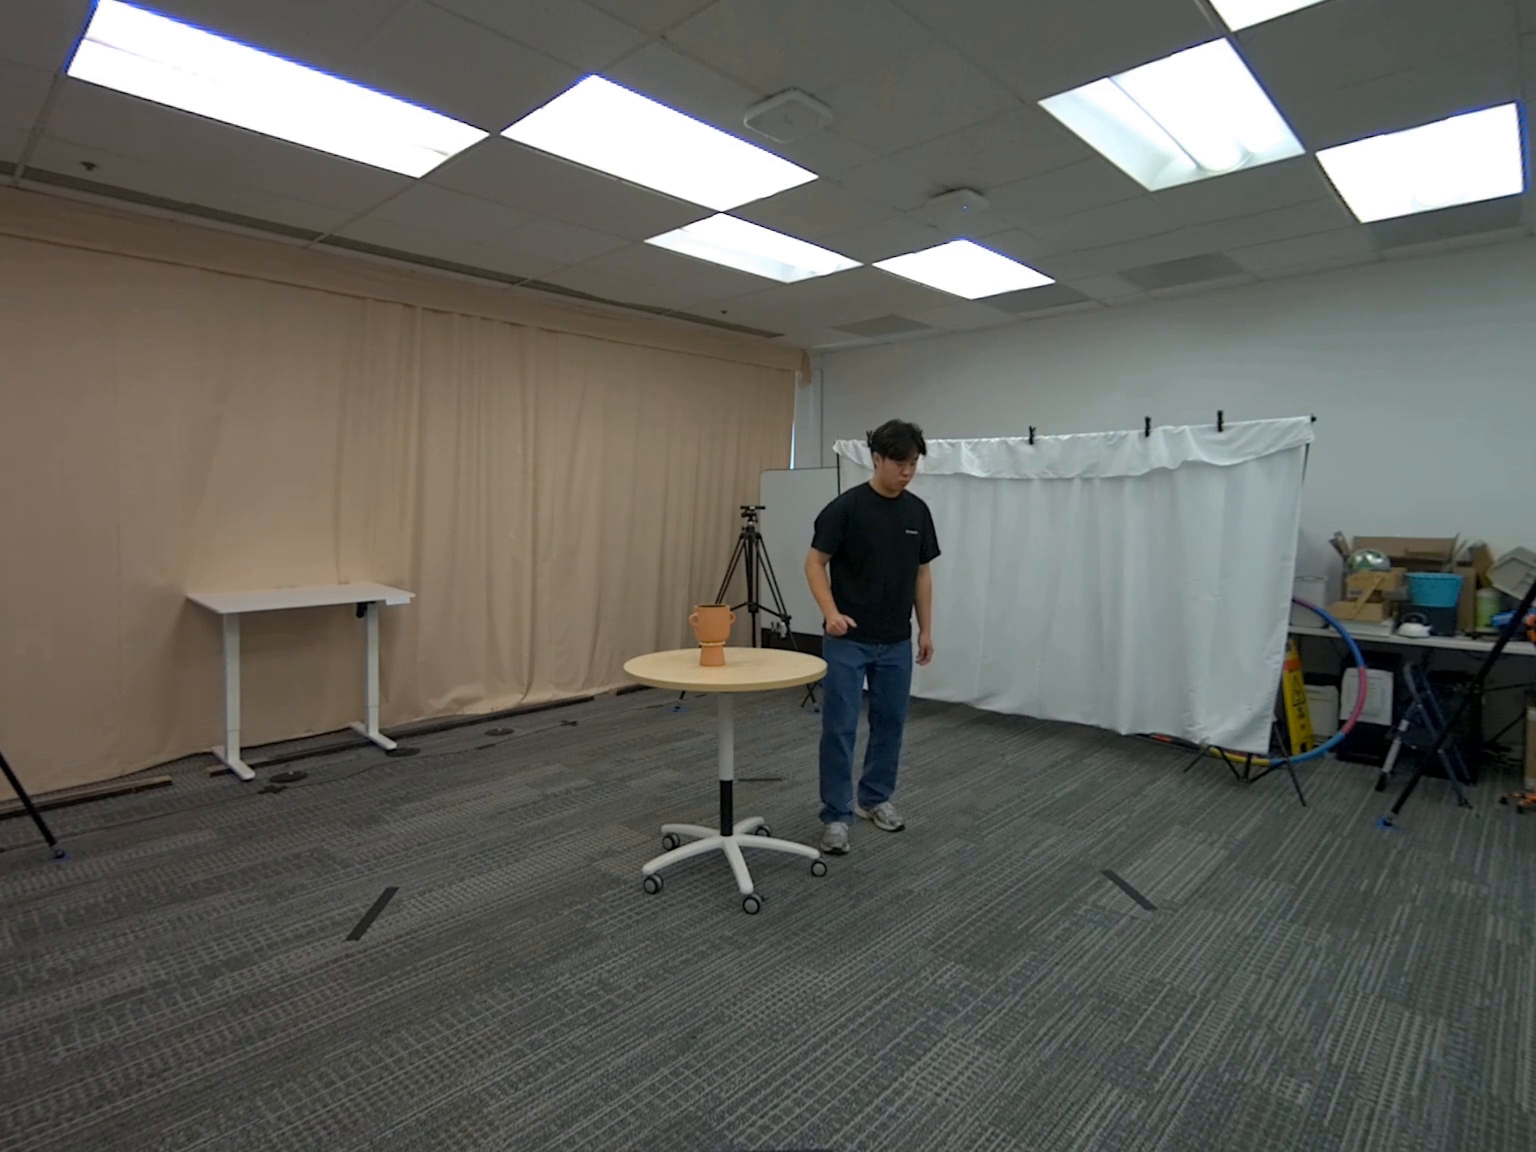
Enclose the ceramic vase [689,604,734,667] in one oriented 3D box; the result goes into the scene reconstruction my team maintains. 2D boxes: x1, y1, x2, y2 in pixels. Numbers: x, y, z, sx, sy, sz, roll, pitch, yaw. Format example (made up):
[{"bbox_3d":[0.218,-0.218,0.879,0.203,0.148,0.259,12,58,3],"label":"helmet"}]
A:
[{"bbox_3d":[-0.208,0.225,3.163,0.160,0.219,0.133,0,3,9],"label":"ceramic vase"}]
